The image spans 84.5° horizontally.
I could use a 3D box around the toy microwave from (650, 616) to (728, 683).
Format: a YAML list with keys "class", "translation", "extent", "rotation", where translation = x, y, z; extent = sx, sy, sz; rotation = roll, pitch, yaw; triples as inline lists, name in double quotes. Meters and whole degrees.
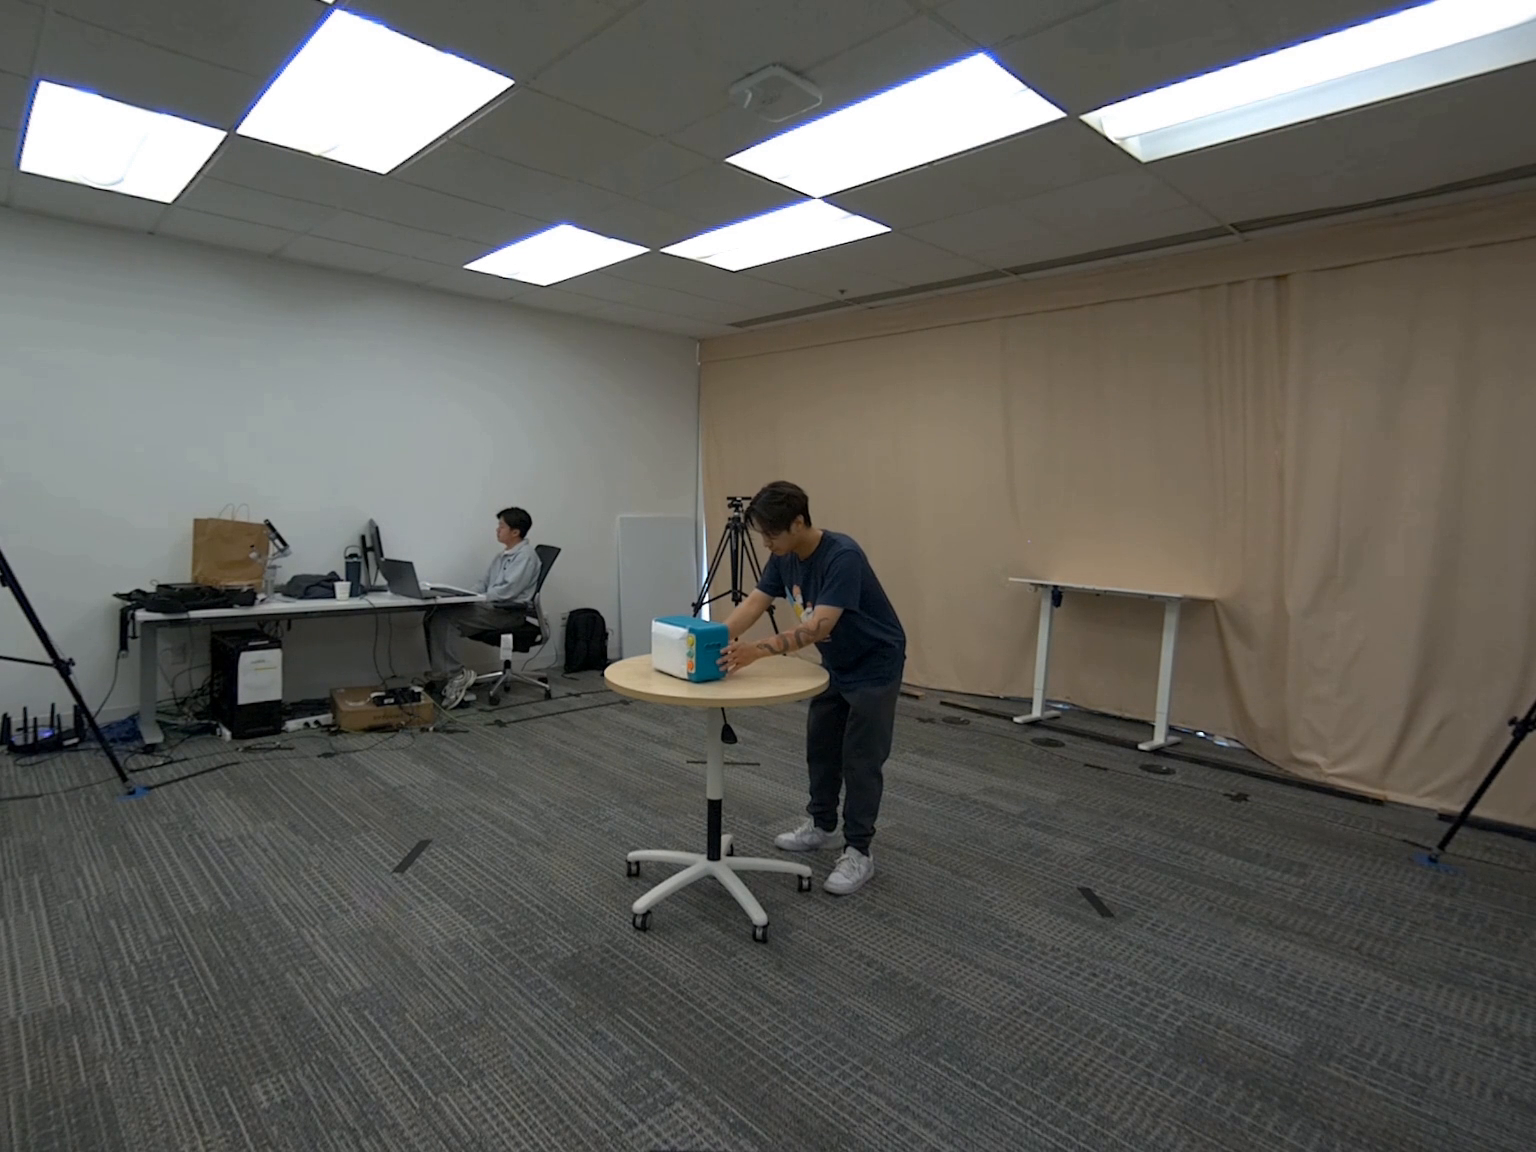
- class: "toy microwave"
  translation: [-0.277, 0.243, 2.803]
  extent: [0.149, 0.183, 0.293]
  rotation: [-3, 6, -38]
